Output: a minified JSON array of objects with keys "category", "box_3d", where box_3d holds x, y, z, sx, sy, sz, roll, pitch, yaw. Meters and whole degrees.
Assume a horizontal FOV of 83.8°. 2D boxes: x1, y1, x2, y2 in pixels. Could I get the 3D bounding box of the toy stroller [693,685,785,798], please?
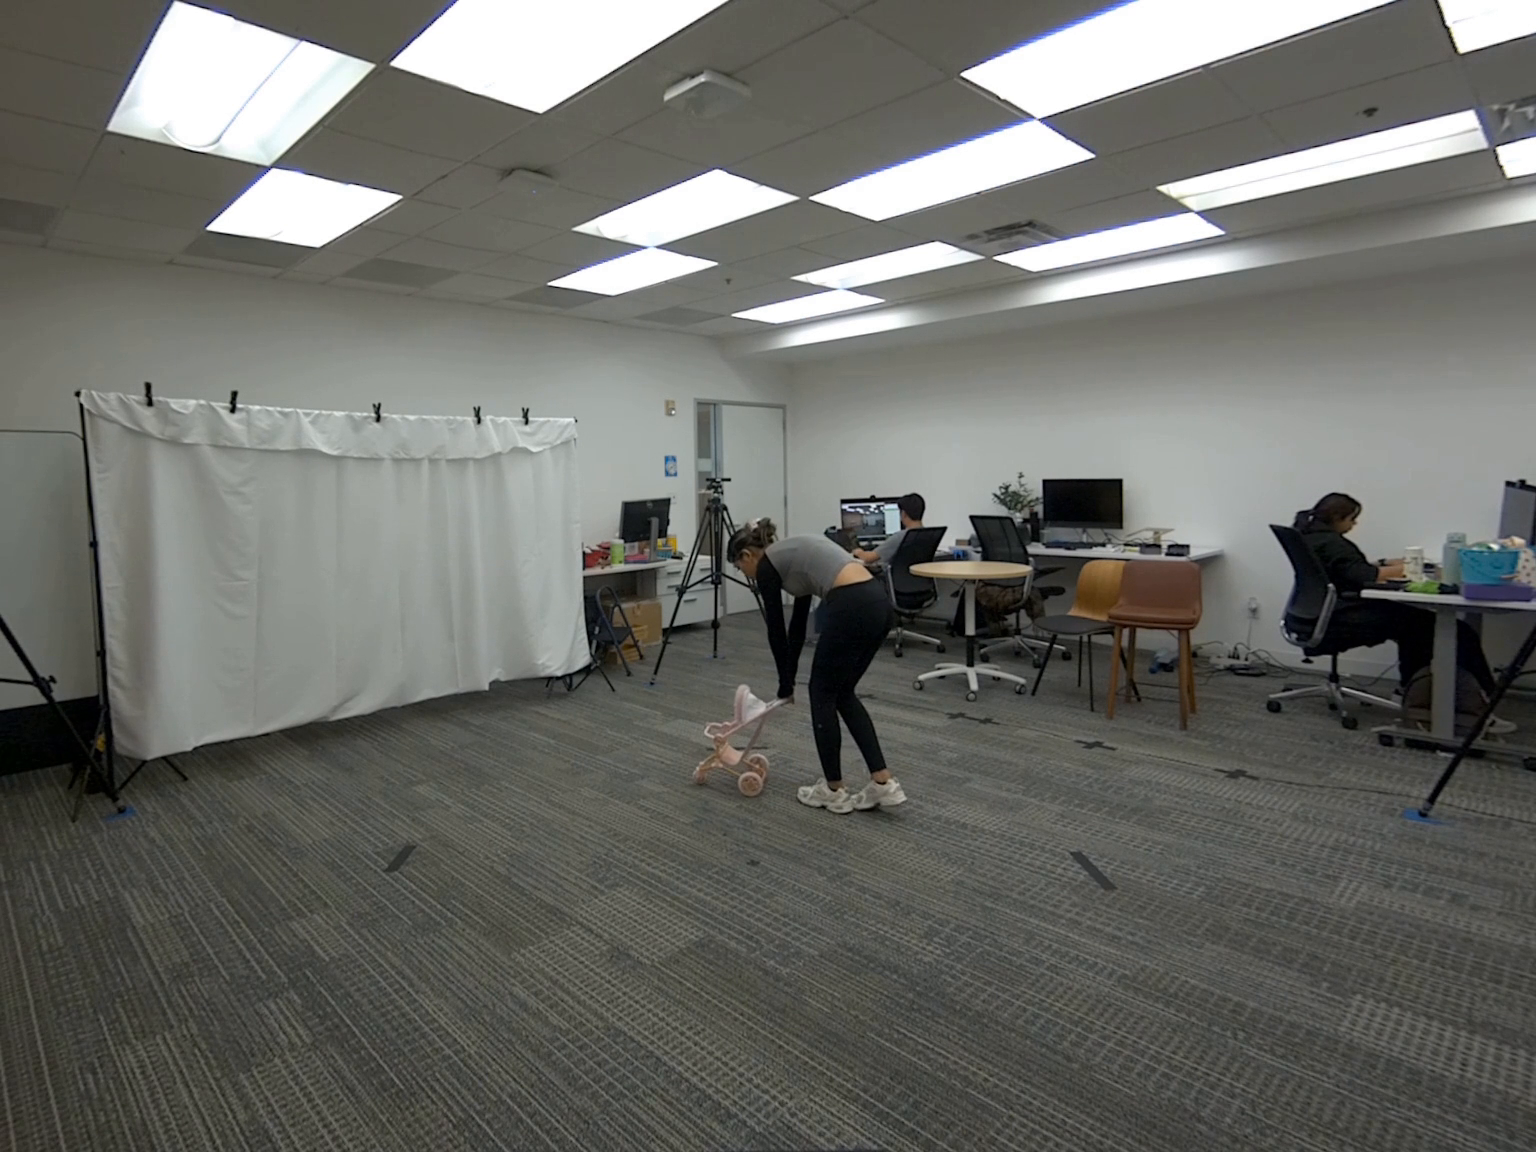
[{"category":"toy stroller","box_3d":[-0.125,0.730,3.877,0.347,0.532,0.278,16,7,13]}]
